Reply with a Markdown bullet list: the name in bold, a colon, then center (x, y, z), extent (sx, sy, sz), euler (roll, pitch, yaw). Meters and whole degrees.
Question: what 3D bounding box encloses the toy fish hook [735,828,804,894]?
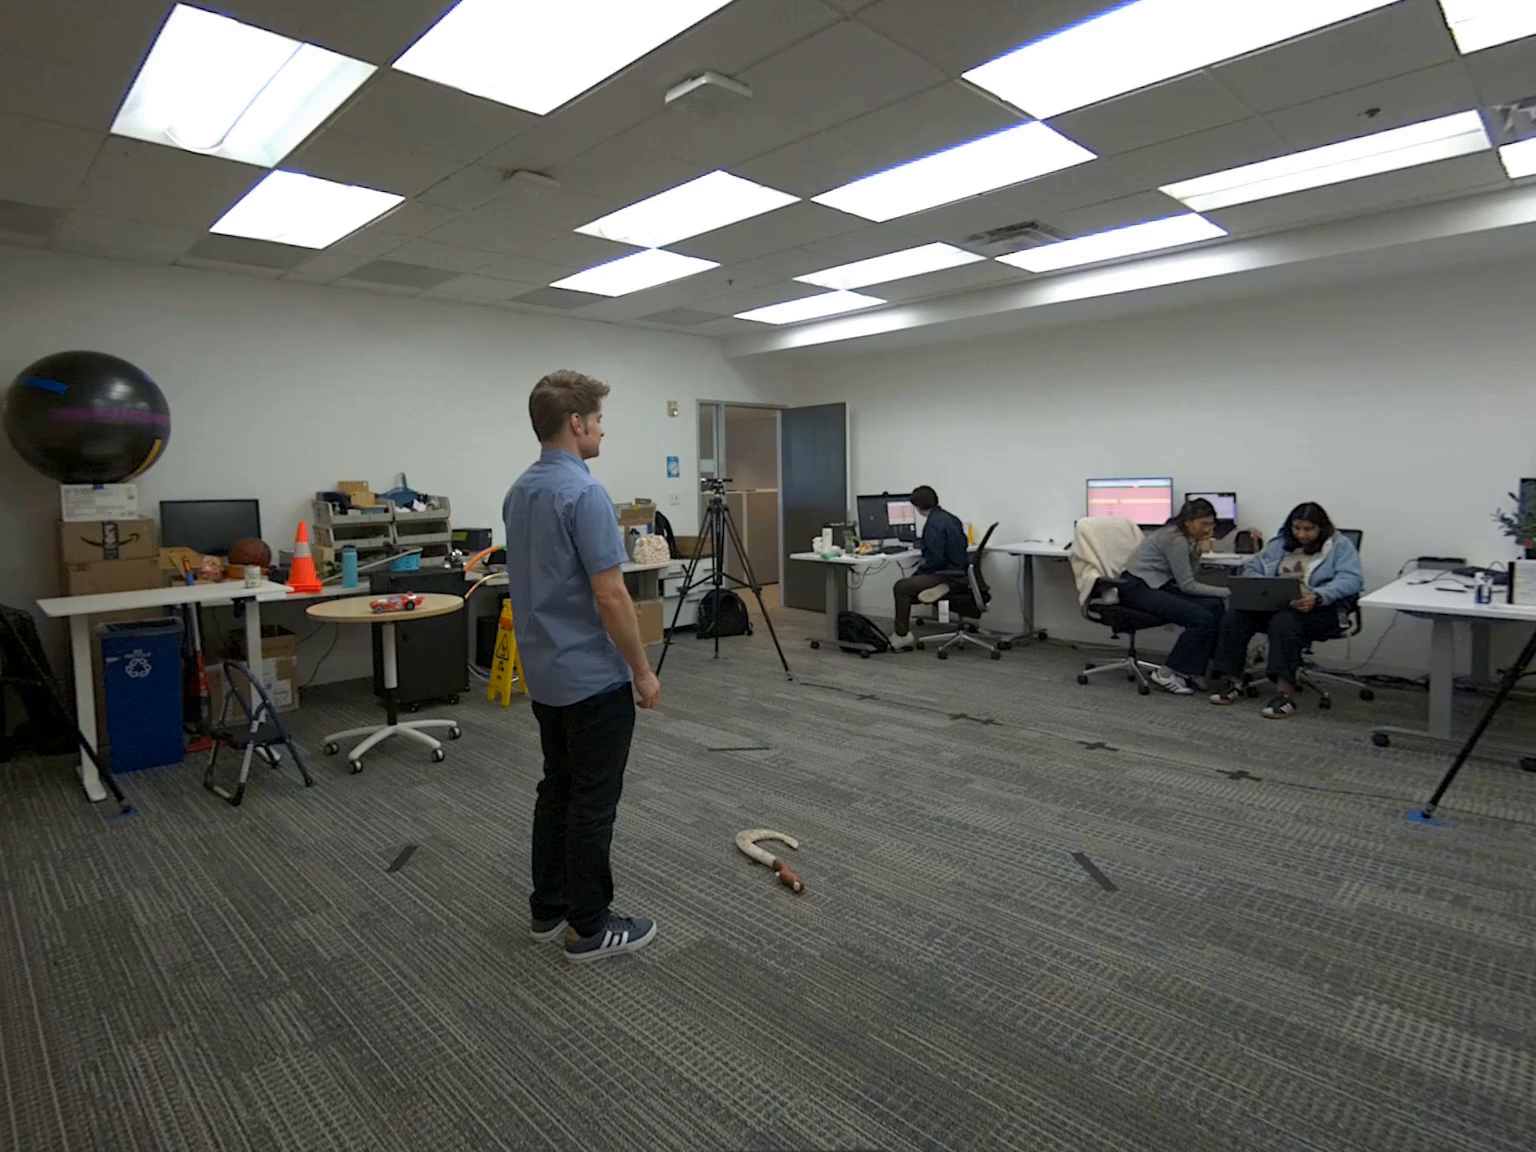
- **toy fish hook**: center (0.052, 1.020, 3.109), extent (0.220, 0.048, 0.519), euler (-6, 8, -23)
